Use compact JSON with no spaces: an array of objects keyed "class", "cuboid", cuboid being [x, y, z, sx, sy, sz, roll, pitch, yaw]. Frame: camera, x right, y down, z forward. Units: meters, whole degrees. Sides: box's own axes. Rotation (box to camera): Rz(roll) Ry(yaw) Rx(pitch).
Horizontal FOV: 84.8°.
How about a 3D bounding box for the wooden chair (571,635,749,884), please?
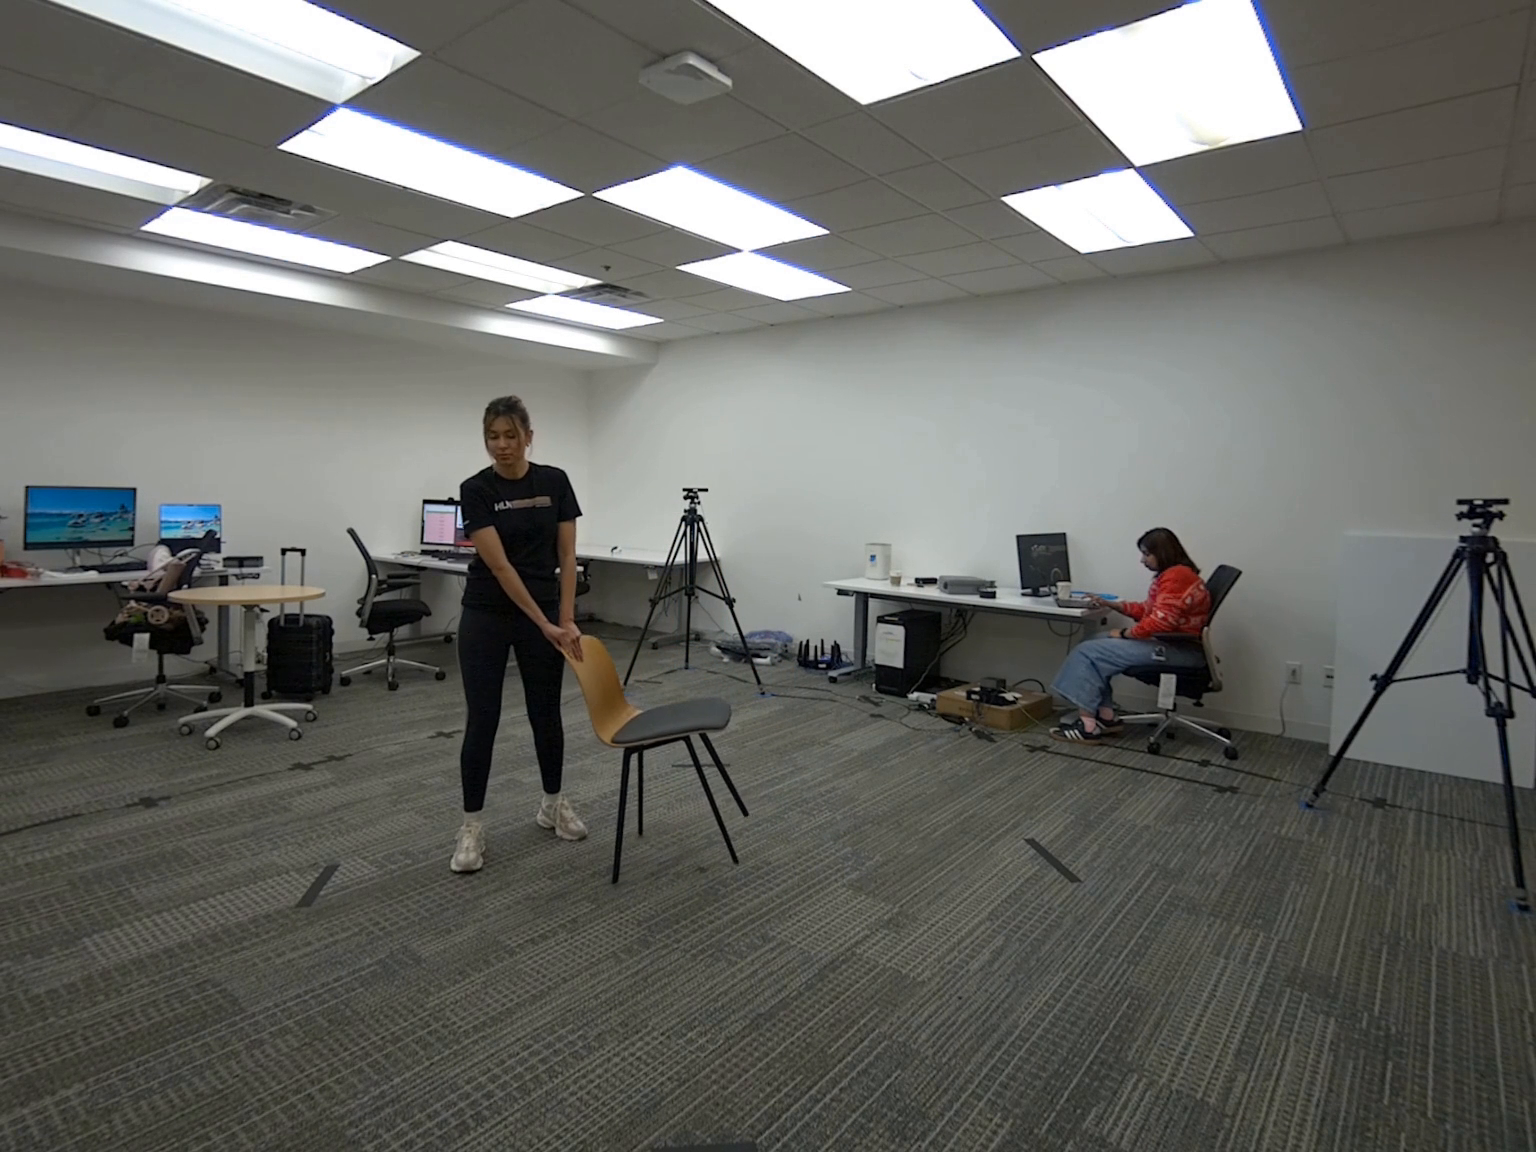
[{"class":"wooden chair","cuboid":[-0.398,0.595,3.151,0.526,0.877,0.476,-16,1,7]}]
